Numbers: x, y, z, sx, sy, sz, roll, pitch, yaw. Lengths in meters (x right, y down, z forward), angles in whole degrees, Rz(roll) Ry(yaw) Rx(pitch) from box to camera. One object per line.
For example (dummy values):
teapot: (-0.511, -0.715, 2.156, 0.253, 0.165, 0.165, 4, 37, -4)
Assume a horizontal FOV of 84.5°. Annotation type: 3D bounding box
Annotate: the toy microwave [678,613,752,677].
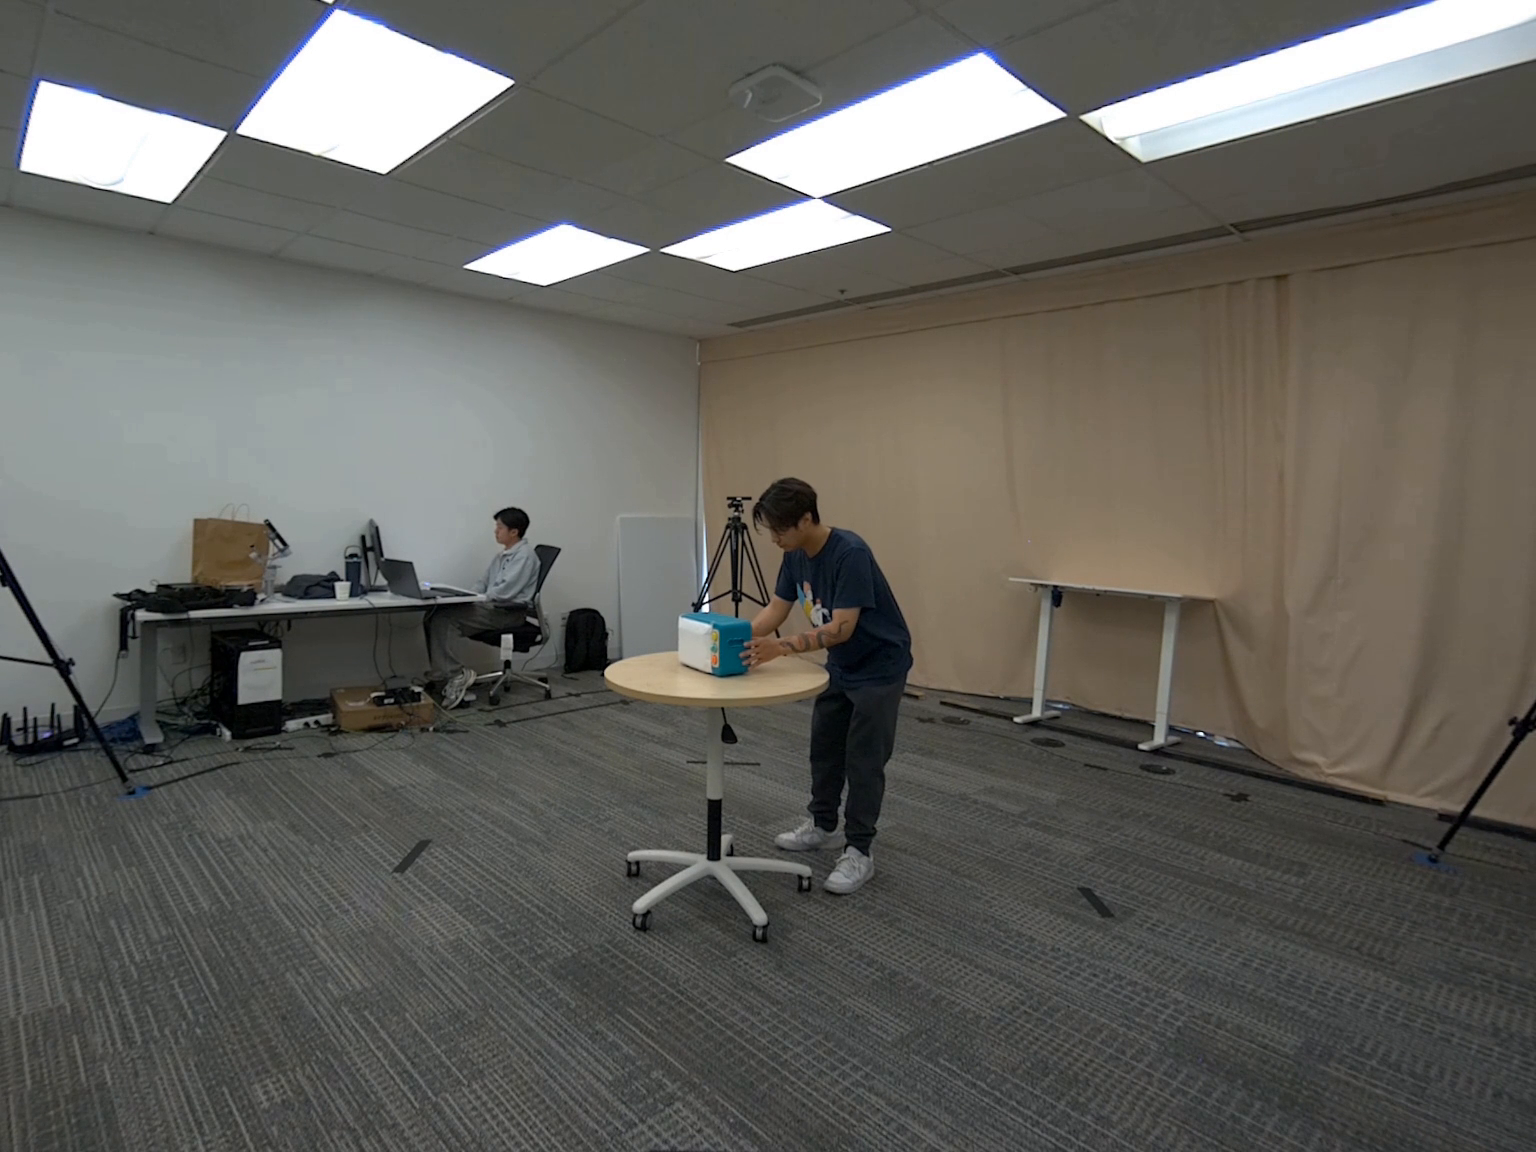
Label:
toy microwave: (-0.195, 0.232, 2.902, 0.149, 0.183, 0.293, -2, 6, -35)
